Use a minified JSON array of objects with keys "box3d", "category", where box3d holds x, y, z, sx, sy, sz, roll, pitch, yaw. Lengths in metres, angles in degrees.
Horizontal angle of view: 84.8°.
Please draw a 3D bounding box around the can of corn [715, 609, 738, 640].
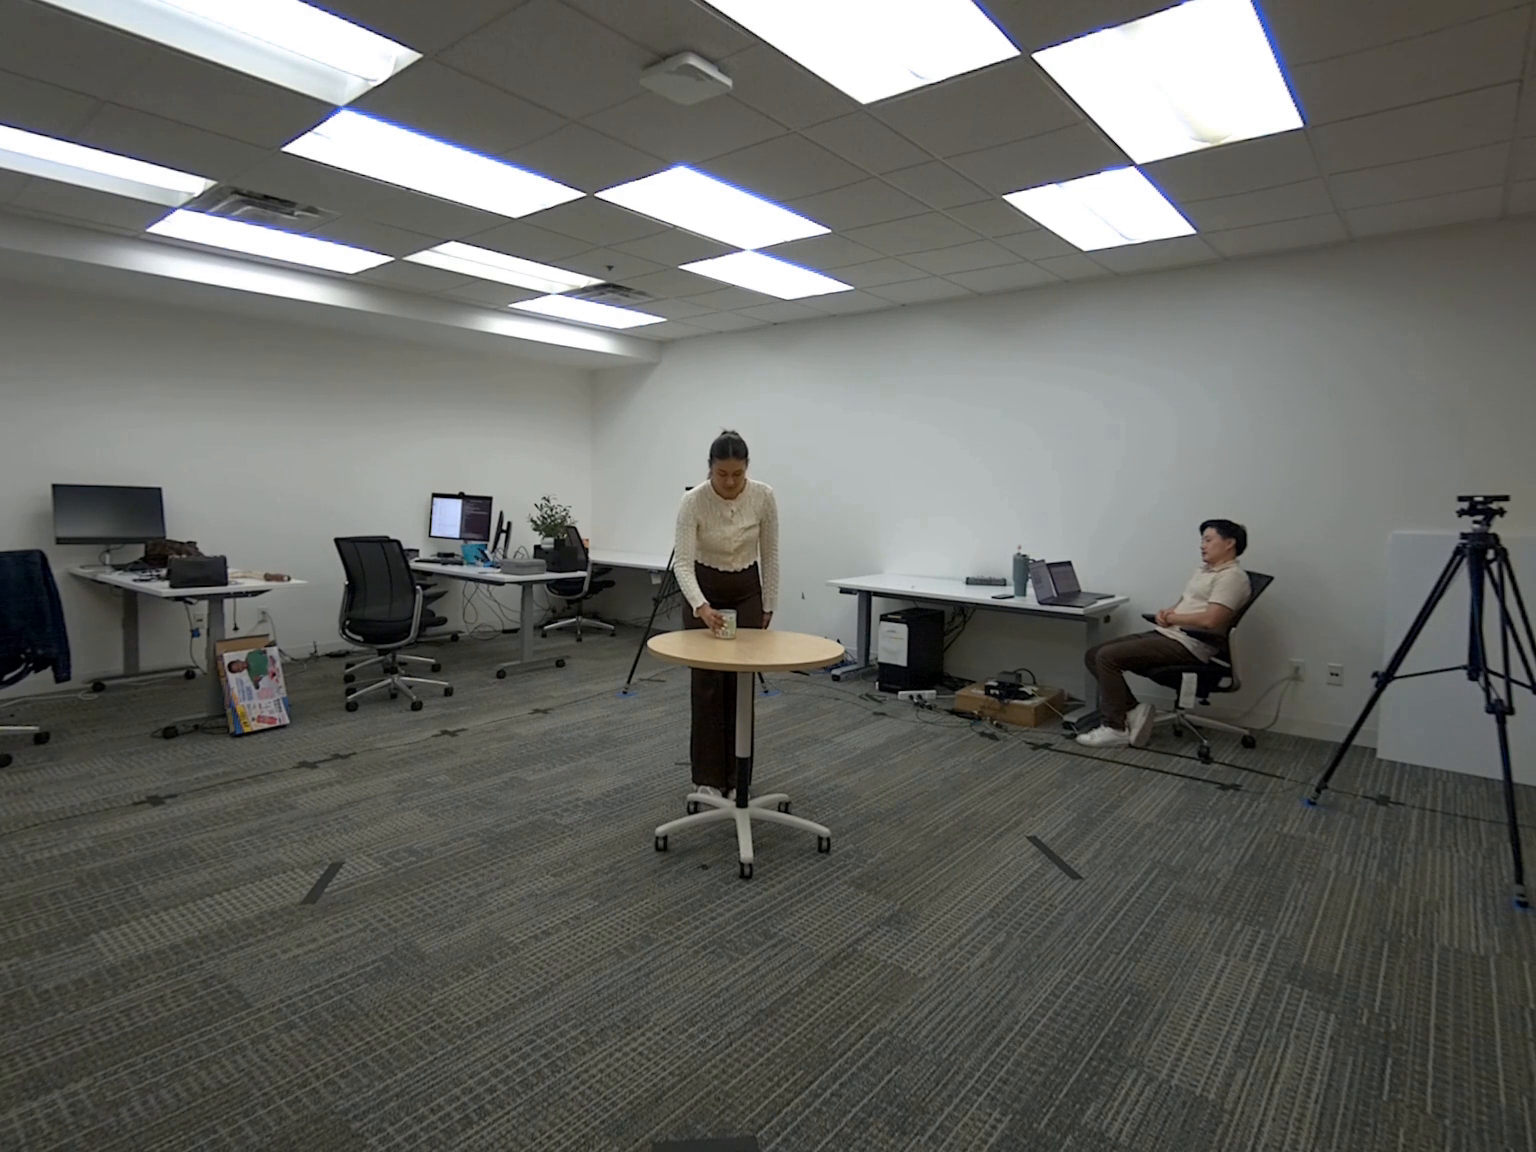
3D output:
[{"box3d":[-0.184,0.195,3.437,0.074,0.111,0.074,1,0,-2],"category":"can of corn"}]
